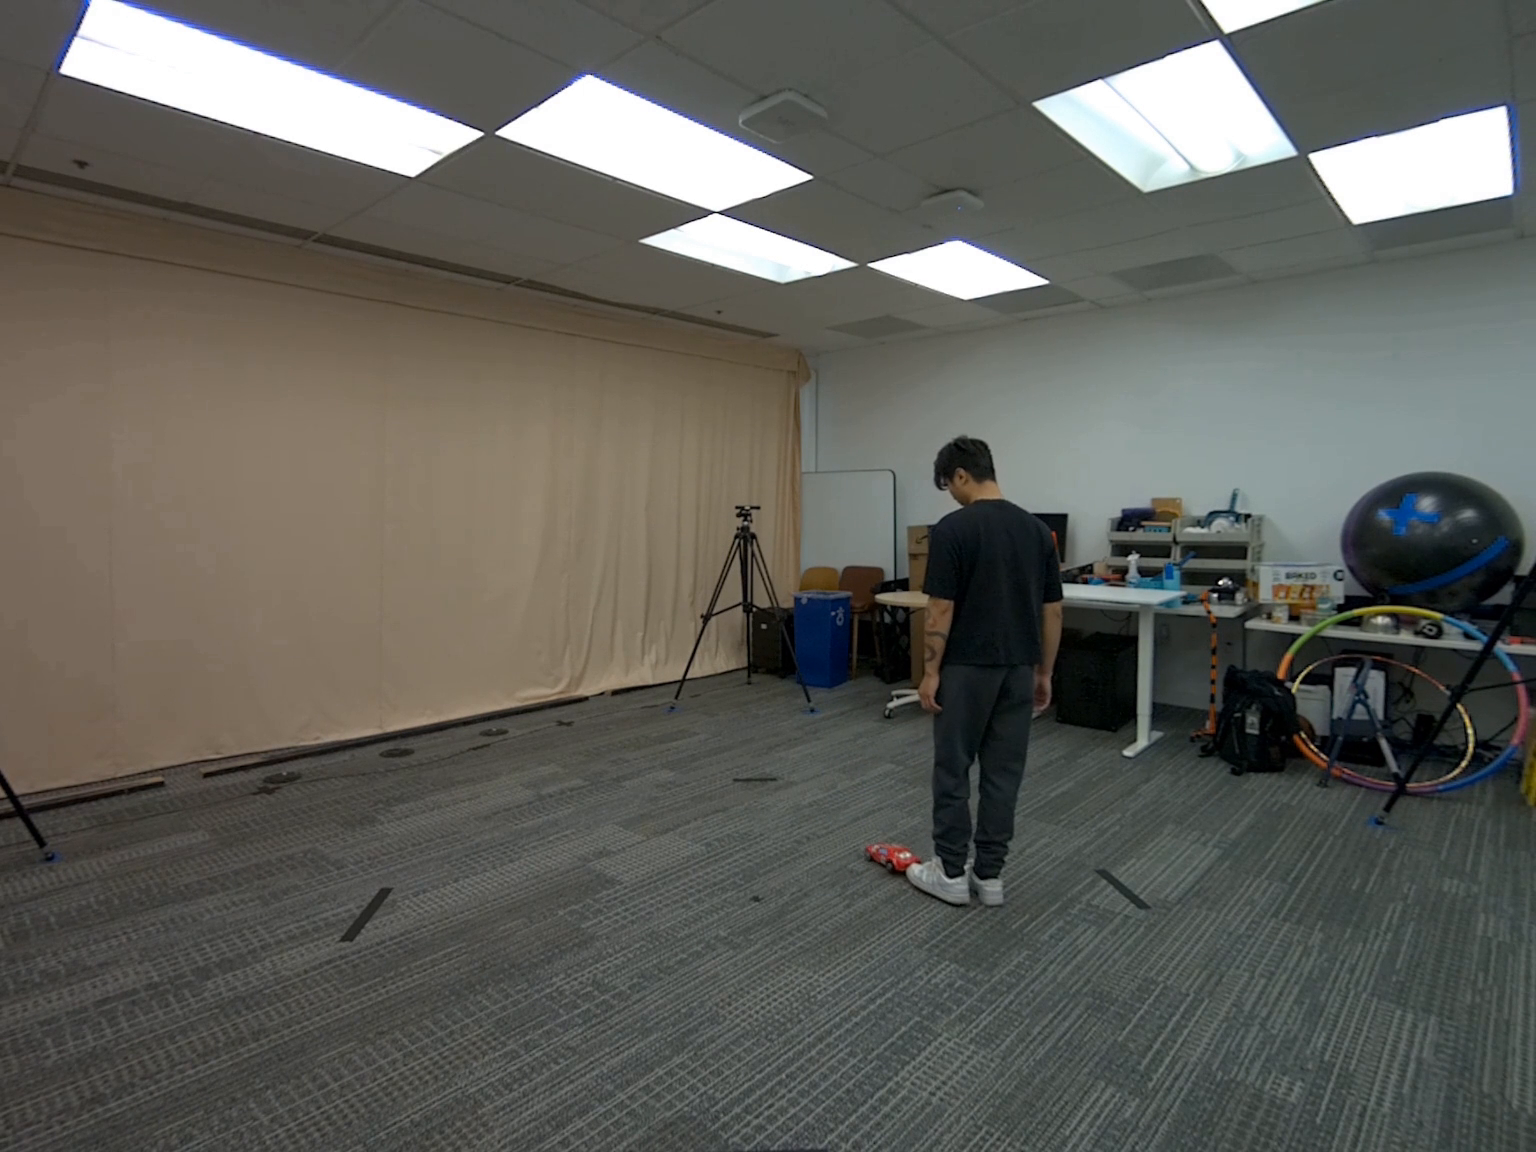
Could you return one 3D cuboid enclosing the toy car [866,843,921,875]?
[{"bbox_3d":[0.487,1.084,3.243,0.127,0.084,0.259,-1,-10,-27],"label":"toy car"}]
